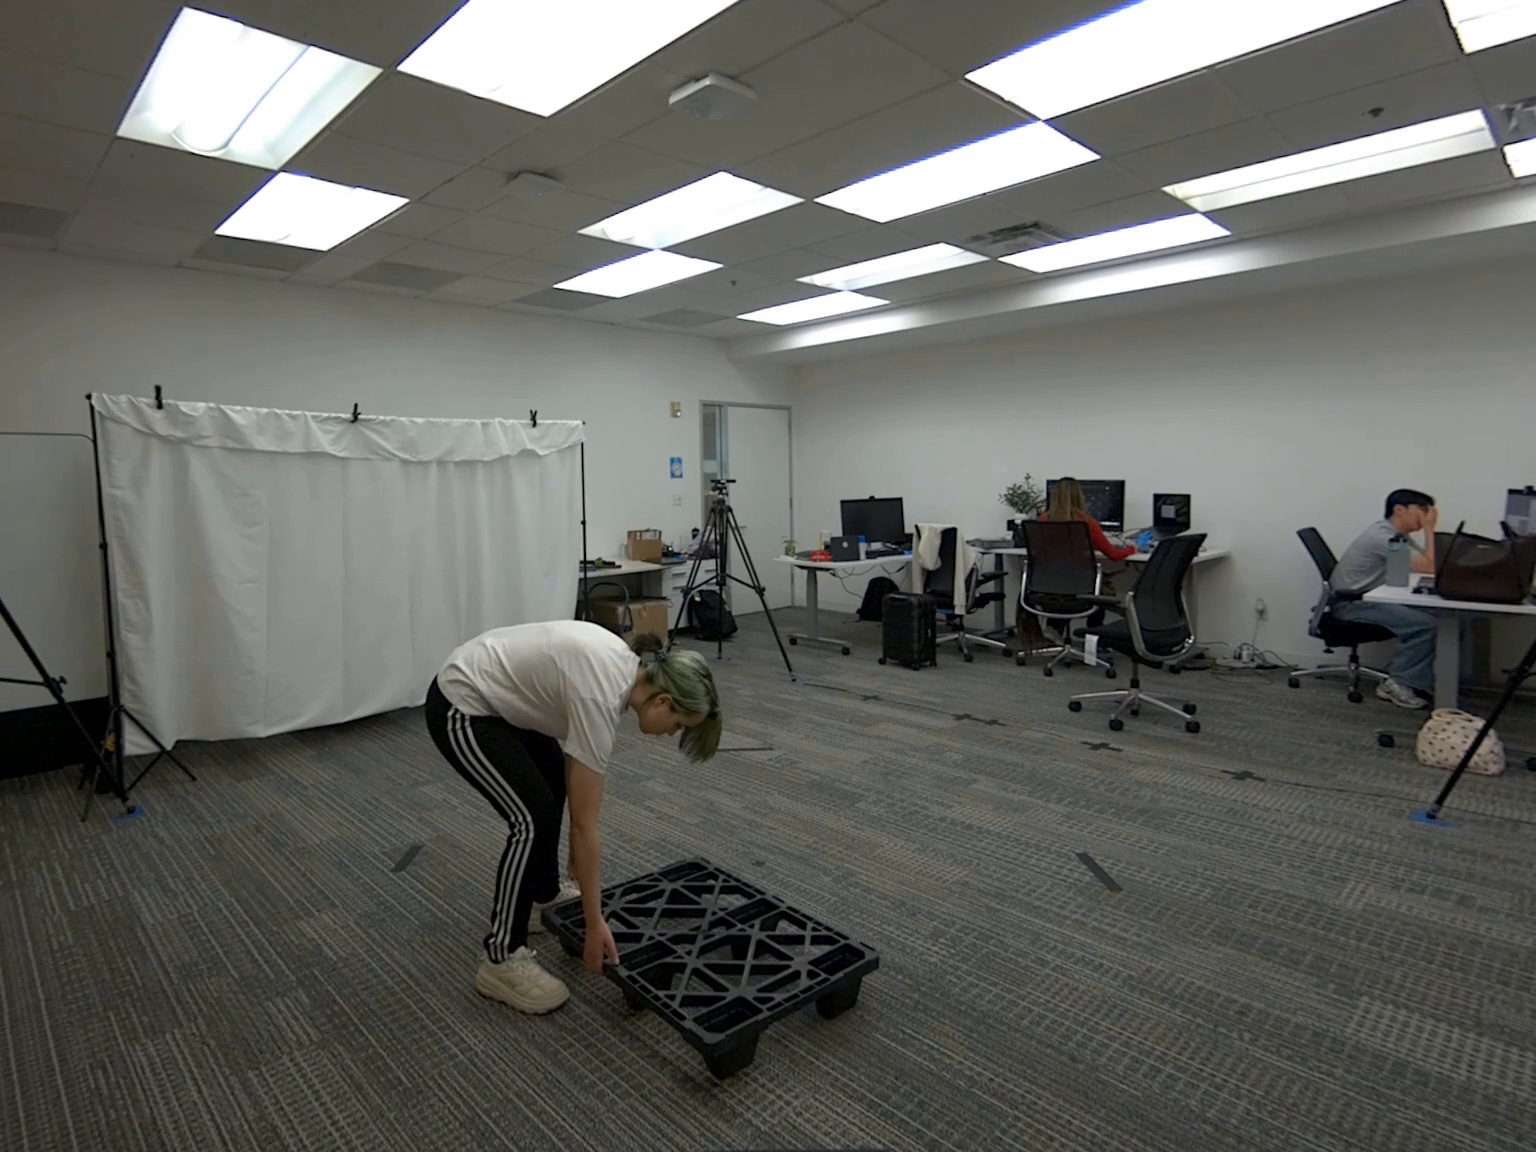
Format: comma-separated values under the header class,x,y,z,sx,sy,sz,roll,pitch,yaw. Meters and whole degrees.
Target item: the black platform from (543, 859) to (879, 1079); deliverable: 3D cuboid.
class,x,y,z,sx,sy,sz,roll,pitch,yaw
black platform,-0.180,1.056,2.400,0.588,0.143,0.831,-3,6,-41
